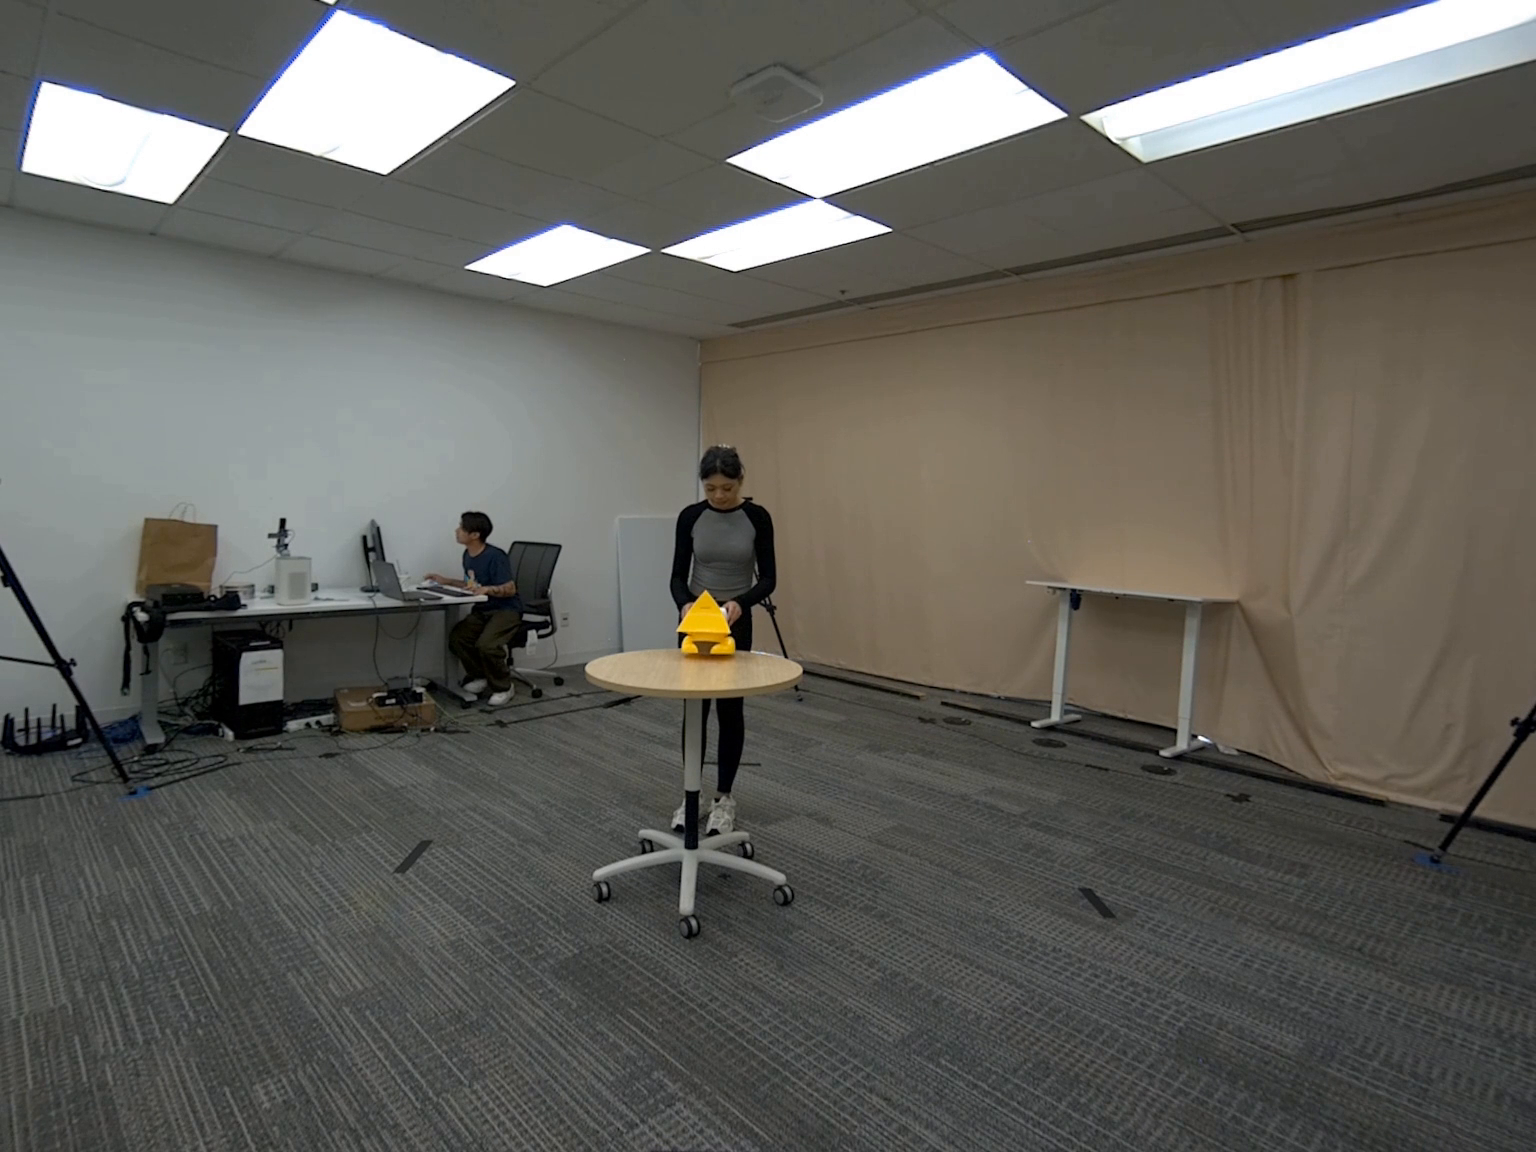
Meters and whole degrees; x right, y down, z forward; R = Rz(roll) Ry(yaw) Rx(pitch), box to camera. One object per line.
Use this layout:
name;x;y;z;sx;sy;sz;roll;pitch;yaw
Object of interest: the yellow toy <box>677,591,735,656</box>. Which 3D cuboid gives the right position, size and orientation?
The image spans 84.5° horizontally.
yellow toy;-0.231;0.170;3.166;0.206;0.231;0.191;3;0;10
